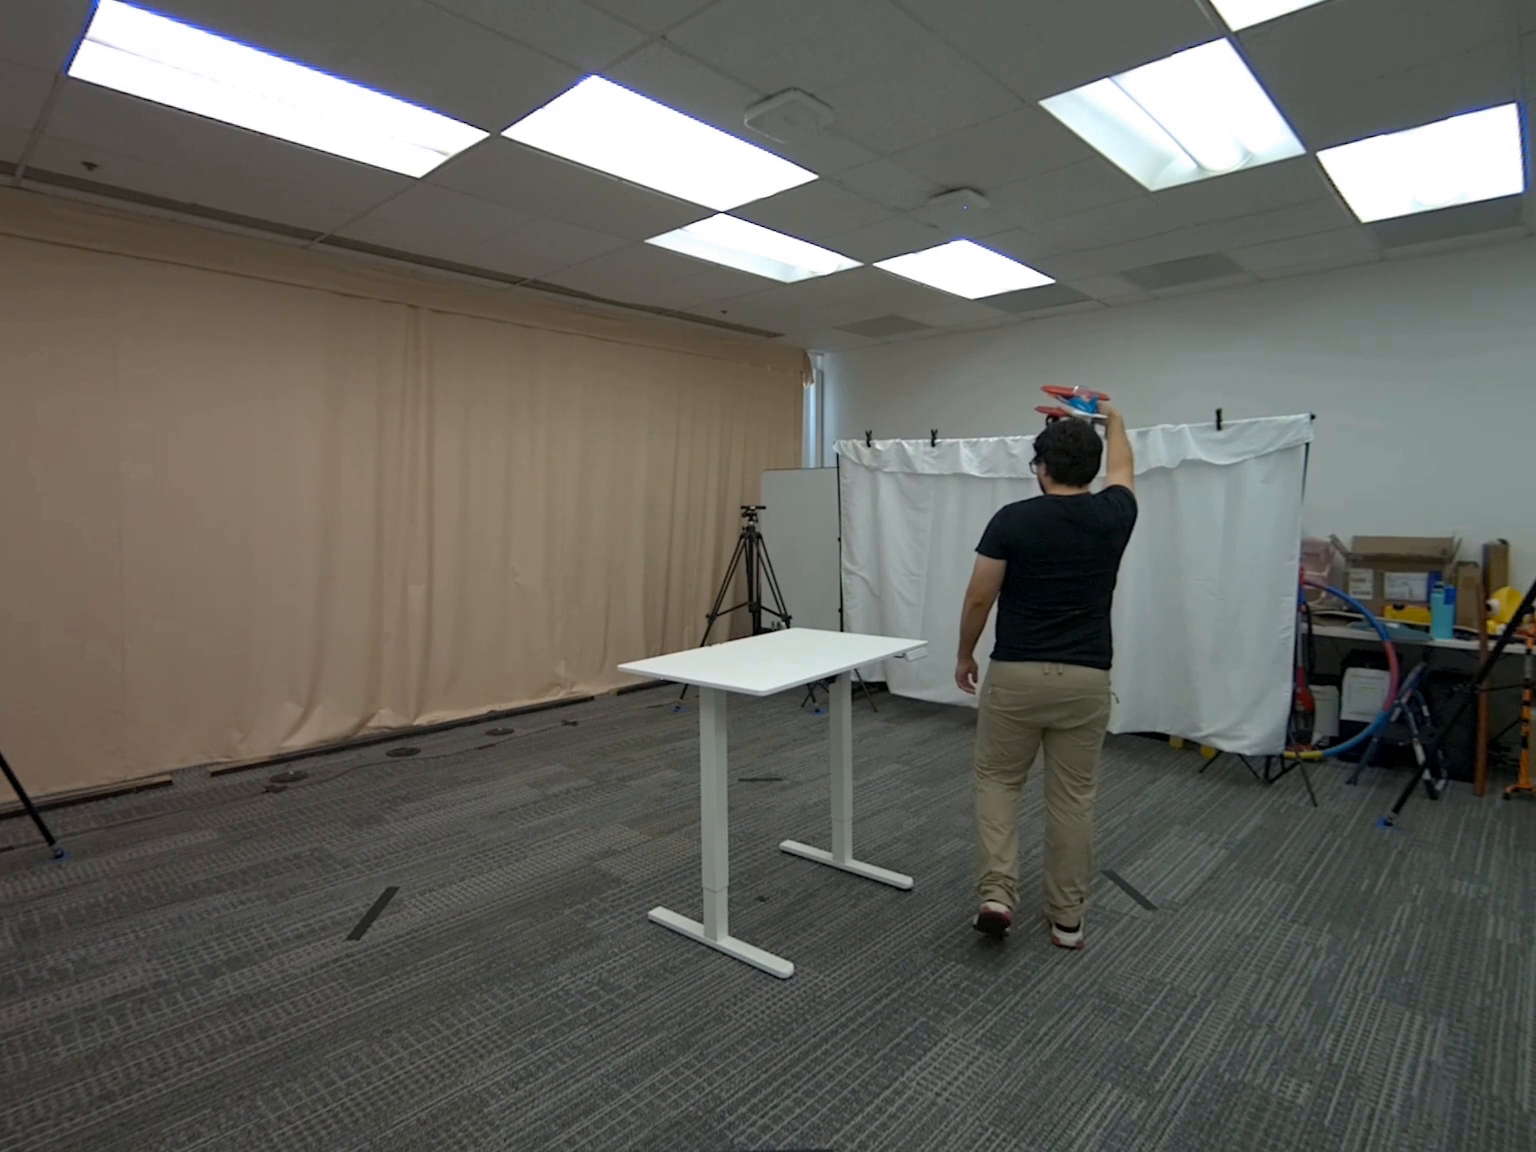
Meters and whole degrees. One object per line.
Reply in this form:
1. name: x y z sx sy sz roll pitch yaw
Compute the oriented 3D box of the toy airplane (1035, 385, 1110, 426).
1. toy airplane: 1.163 -0.611 3.096 0.243 0.156 0.268 1 12 -35
